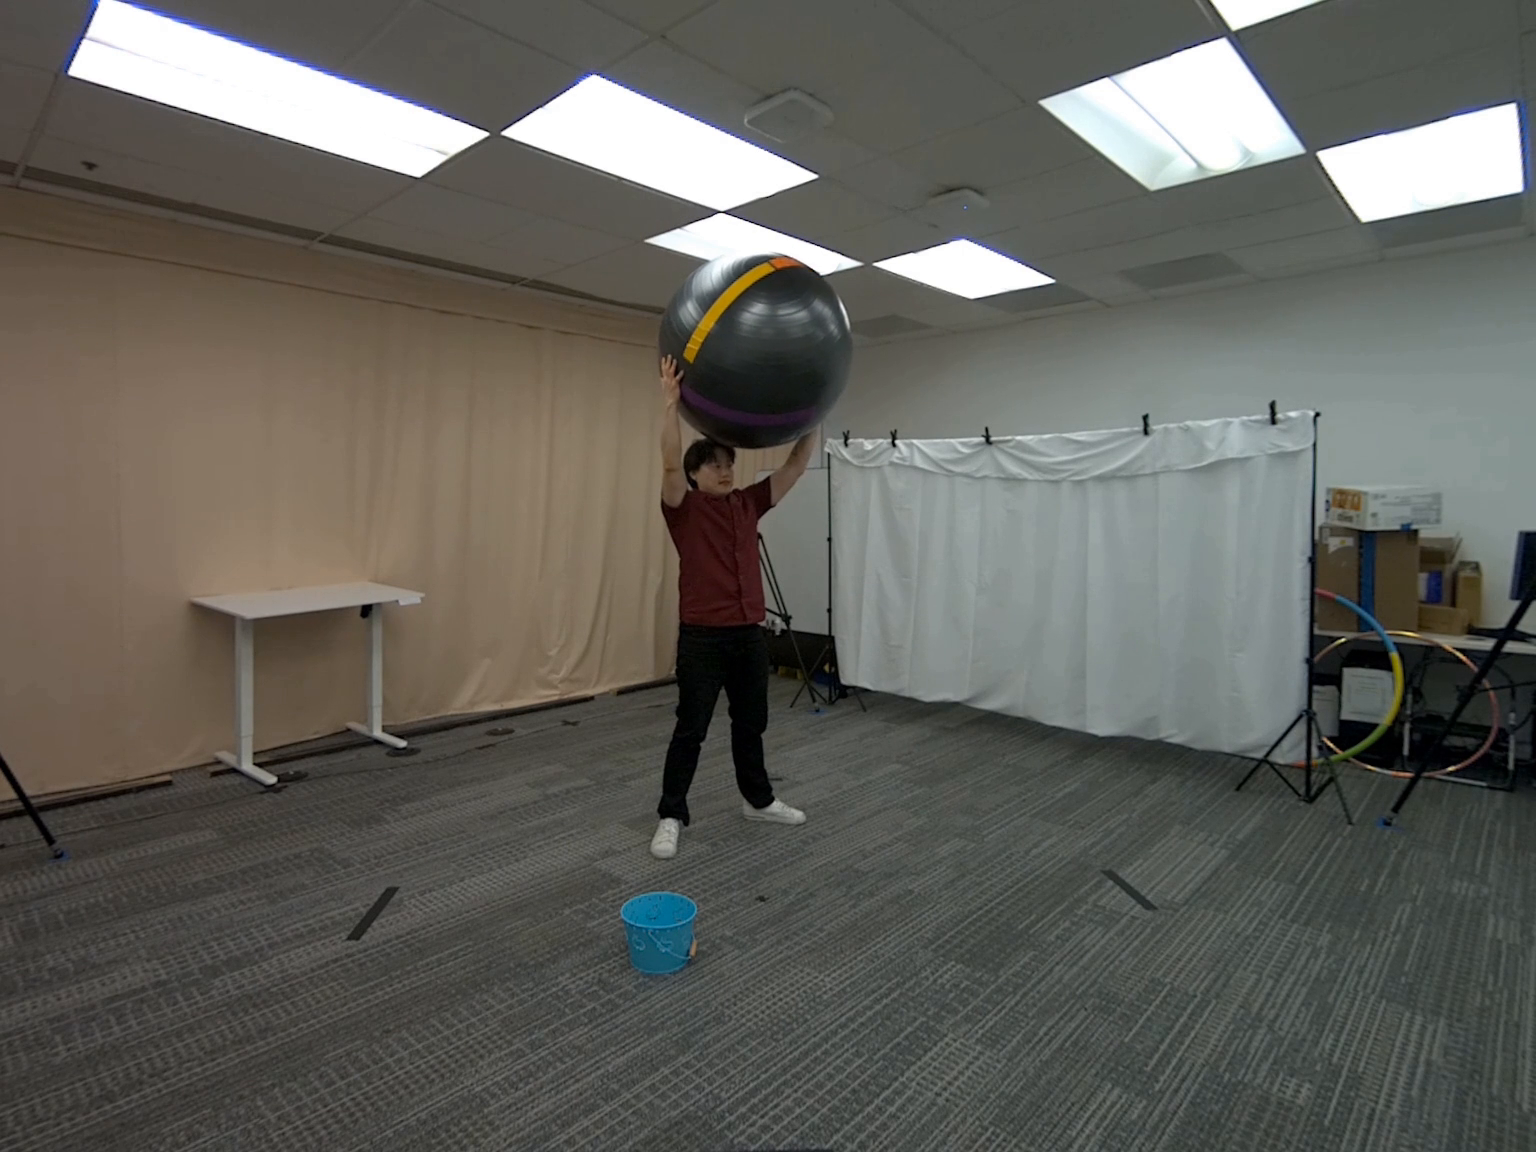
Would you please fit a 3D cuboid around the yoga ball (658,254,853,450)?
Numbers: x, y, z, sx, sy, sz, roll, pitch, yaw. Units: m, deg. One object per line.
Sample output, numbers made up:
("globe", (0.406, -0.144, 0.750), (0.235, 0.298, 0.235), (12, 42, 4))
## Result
("yoga ball", (-0.047, -0.865, 3.280), (0.757, 0.756, 0.760), (0, 4, -2))
